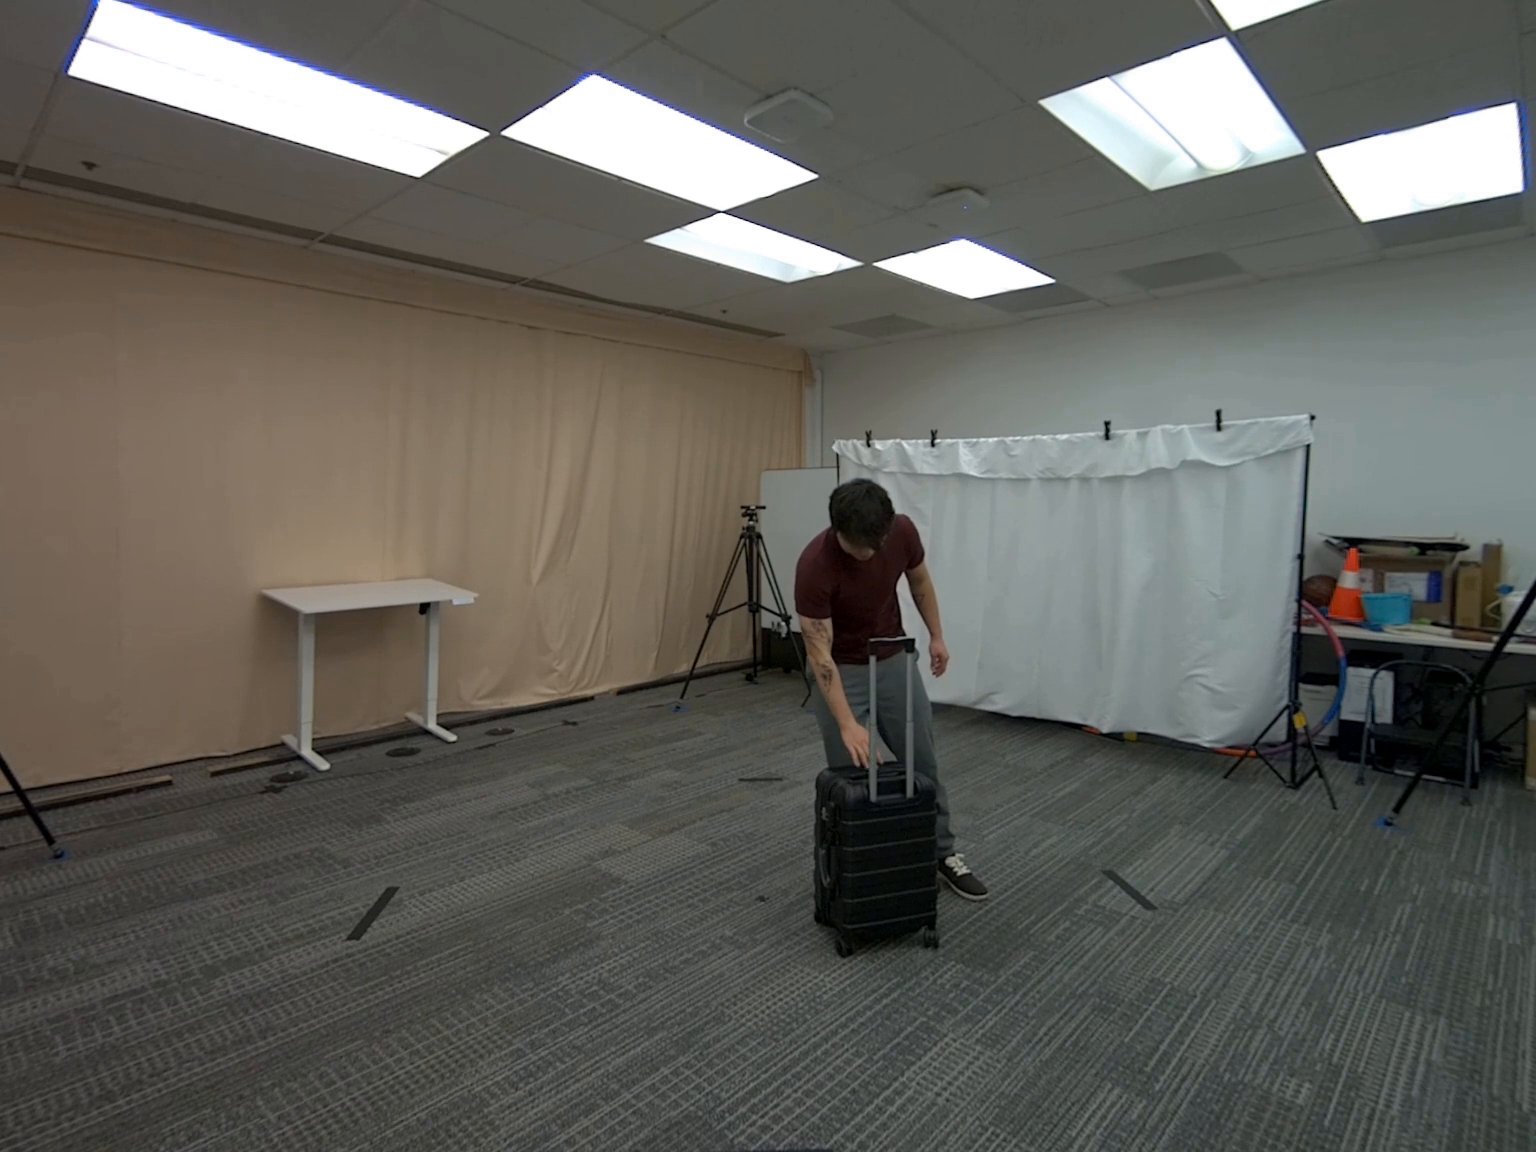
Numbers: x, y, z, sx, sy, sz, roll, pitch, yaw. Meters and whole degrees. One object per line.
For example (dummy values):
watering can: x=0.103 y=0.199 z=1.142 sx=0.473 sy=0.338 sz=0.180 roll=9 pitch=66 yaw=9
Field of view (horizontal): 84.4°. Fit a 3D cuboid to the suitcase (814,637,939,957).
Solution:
suitcase: x=0.345 y=0.691 z=2.699 sx=0.378 sy=0.975 sz=0.262 roll=-1 pitch=5 yaw=-15
